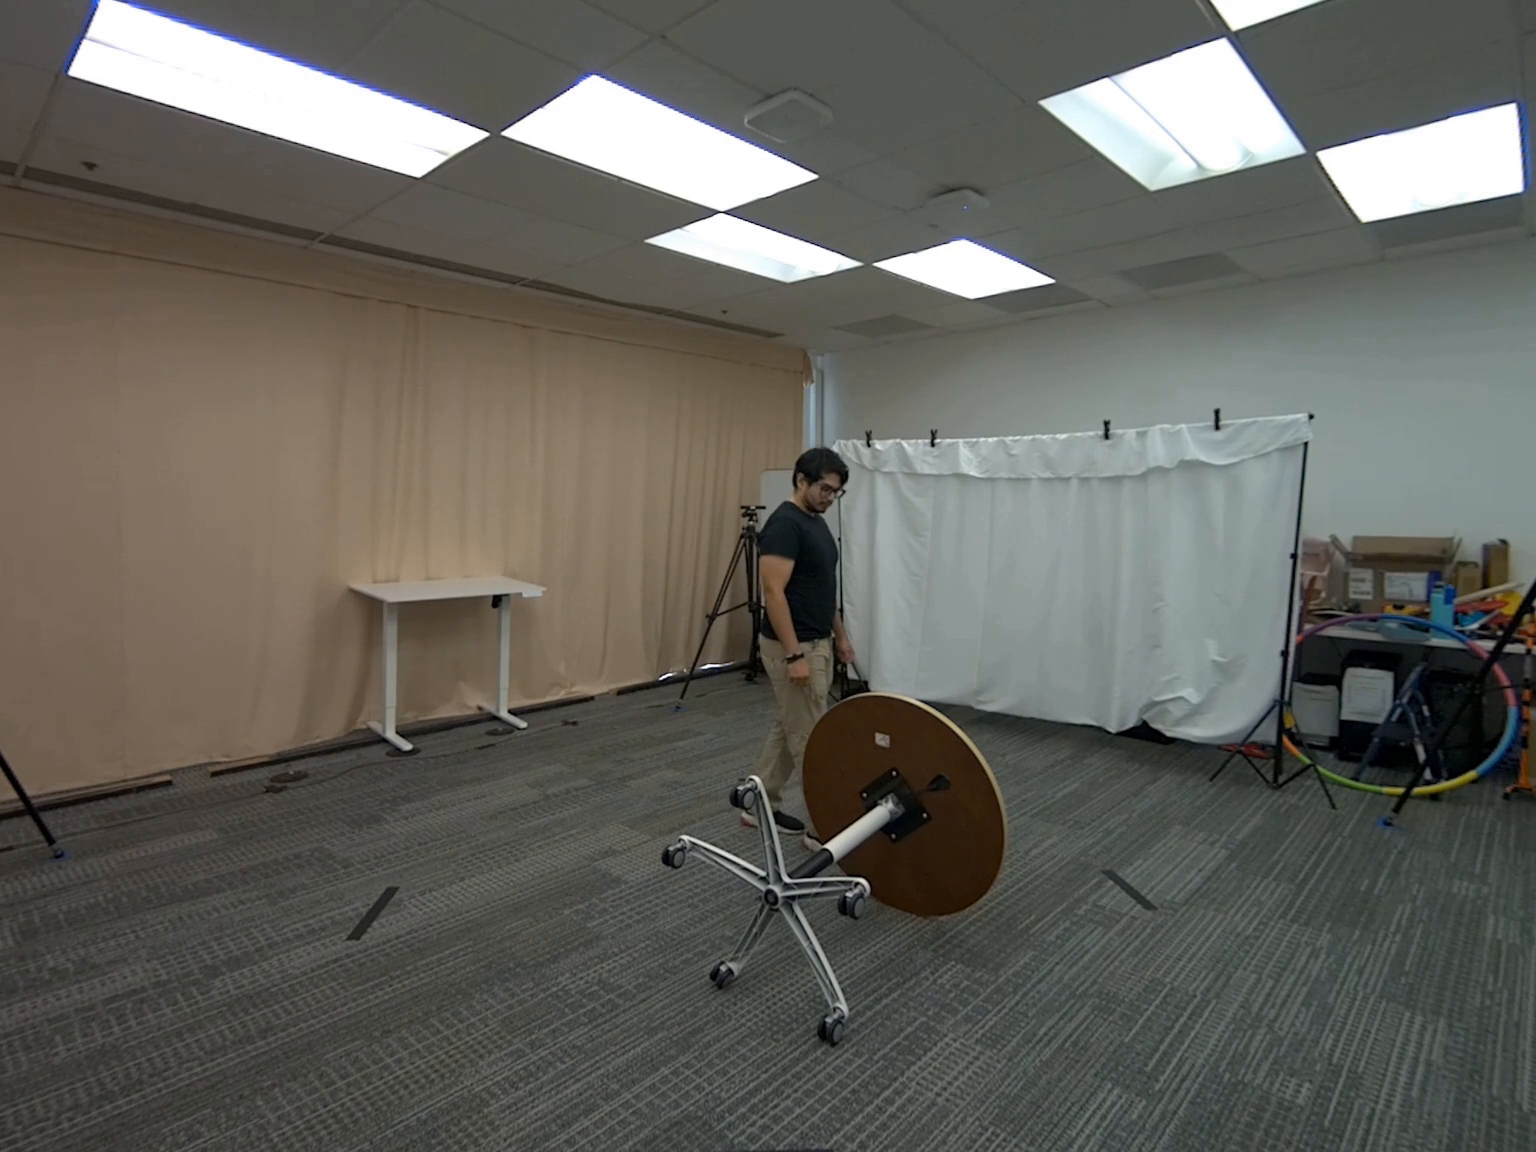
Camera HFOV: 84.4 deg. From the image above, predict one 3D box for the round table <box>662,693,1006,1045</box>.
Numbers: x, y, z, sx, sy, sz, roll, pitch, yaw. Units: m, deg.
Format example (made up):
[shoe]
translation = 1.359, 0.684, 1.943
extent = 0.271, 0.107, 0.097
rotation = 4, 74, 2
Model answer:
[round table]
translation = 0.206, 0.847, 2.570
extent = 0.811, 0.780, 0.766
rotation = 3, 12, 41
